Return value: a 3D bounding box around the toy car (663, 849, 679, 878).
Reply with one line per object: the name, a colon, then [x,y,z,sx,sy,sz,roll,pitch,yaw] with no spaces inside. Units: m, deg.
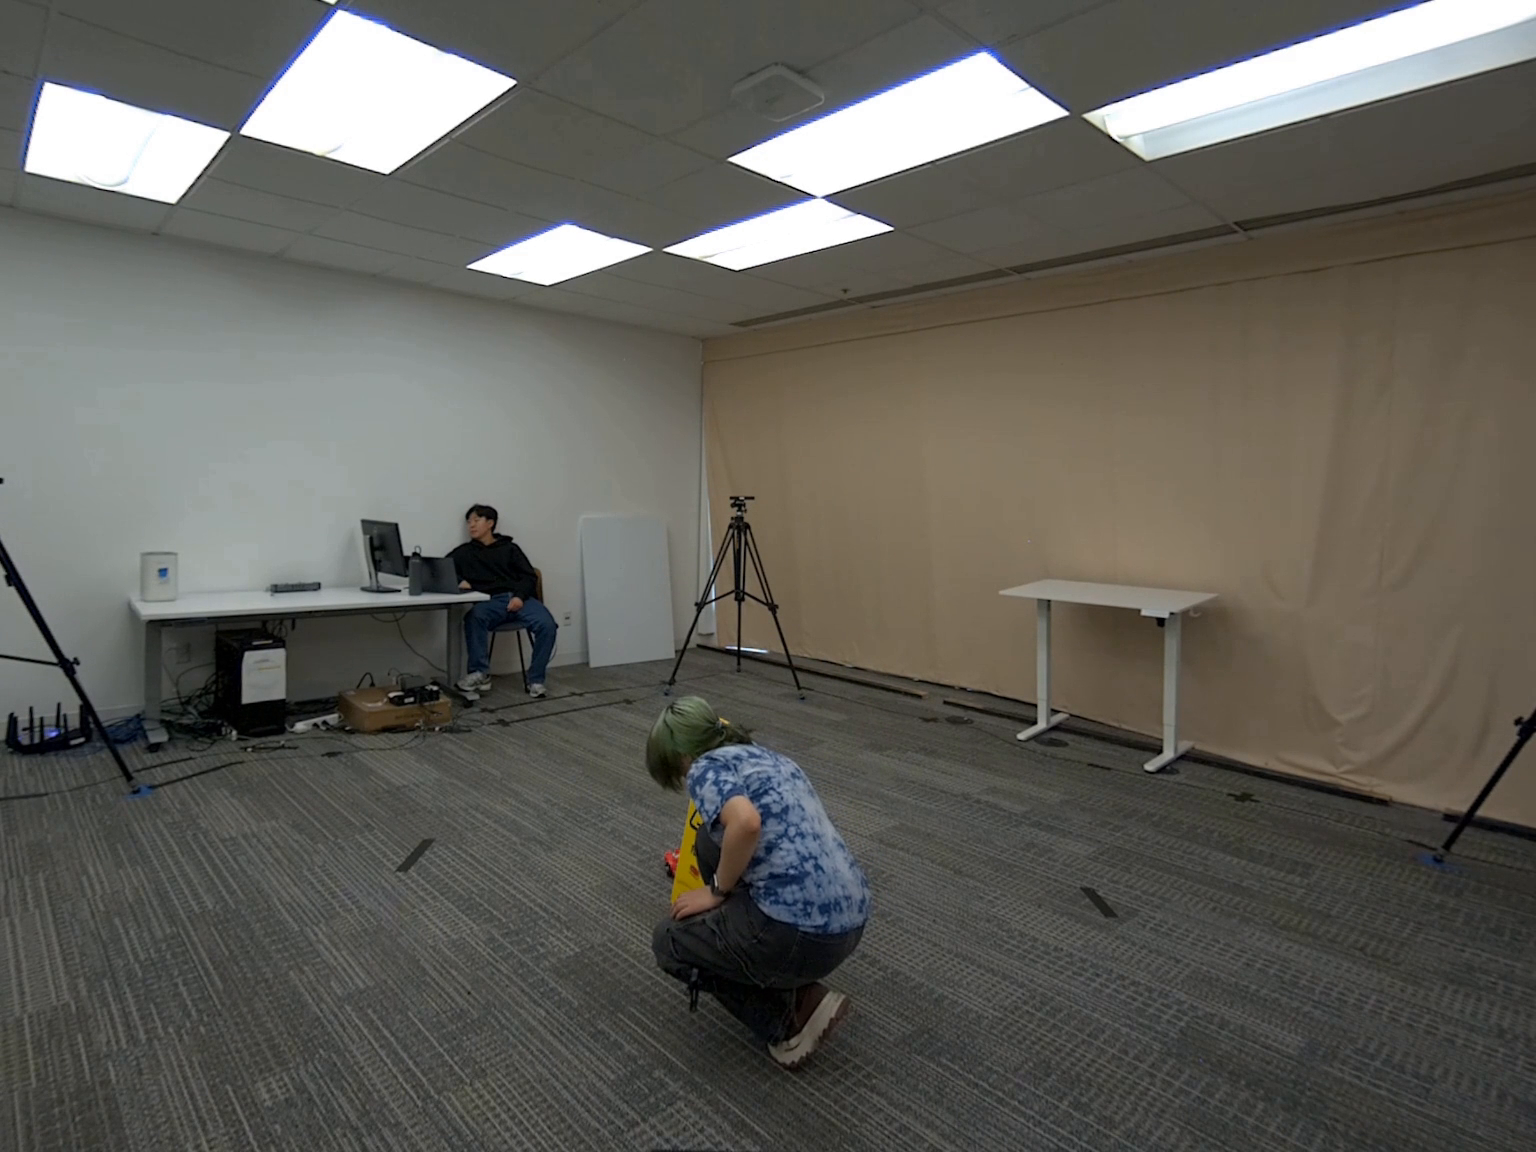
toy car: [-0.302,1.079,3.067,0.128,0.082,0.262,-1,19,-27]
